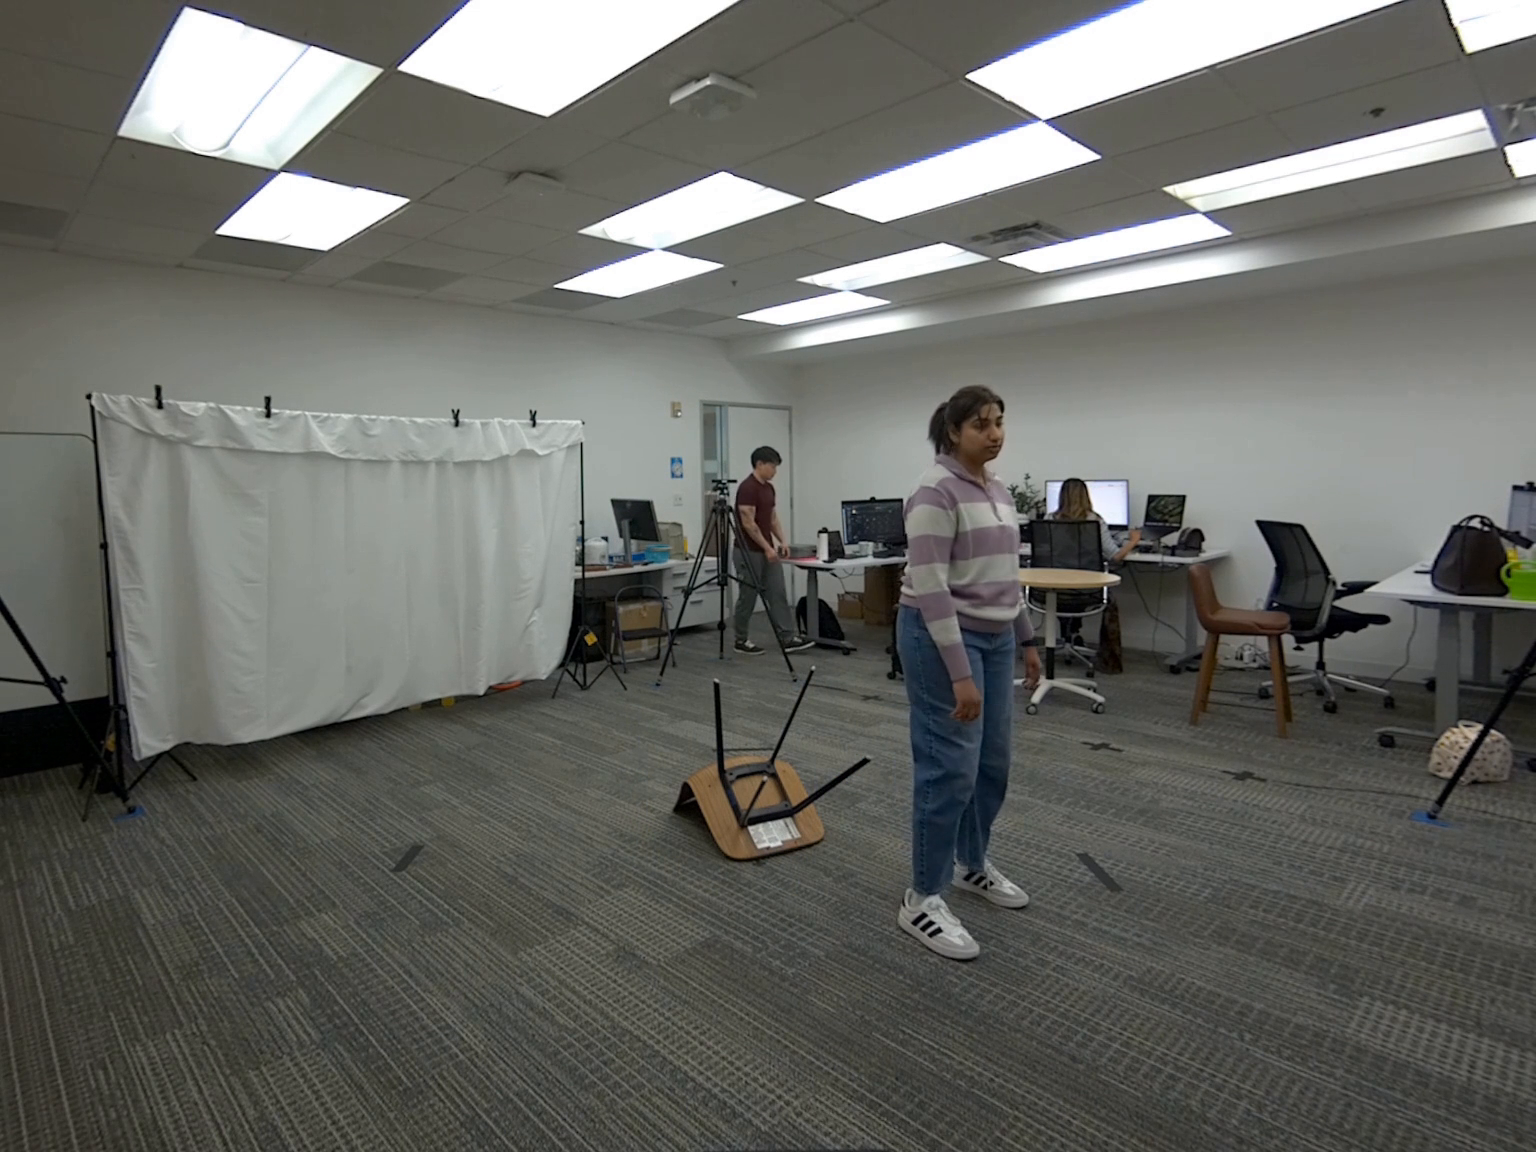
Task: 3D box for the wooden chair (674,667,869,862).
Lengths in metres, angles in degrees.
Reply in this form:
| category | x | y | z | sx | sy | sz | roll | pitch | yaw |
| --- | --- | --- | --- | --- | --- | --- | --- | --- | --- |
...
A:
| category | x | y | z | sx | sy | sz | roll | pitch | yaw |
| --- | --- | --- | --- | --- | --- | --- | --- | --- | --- |
| wooden chair | -0.041 | 0.850 | 3.346 | 0.467 | 0.866 | 0.543 | -3 | 46 | -30 |
